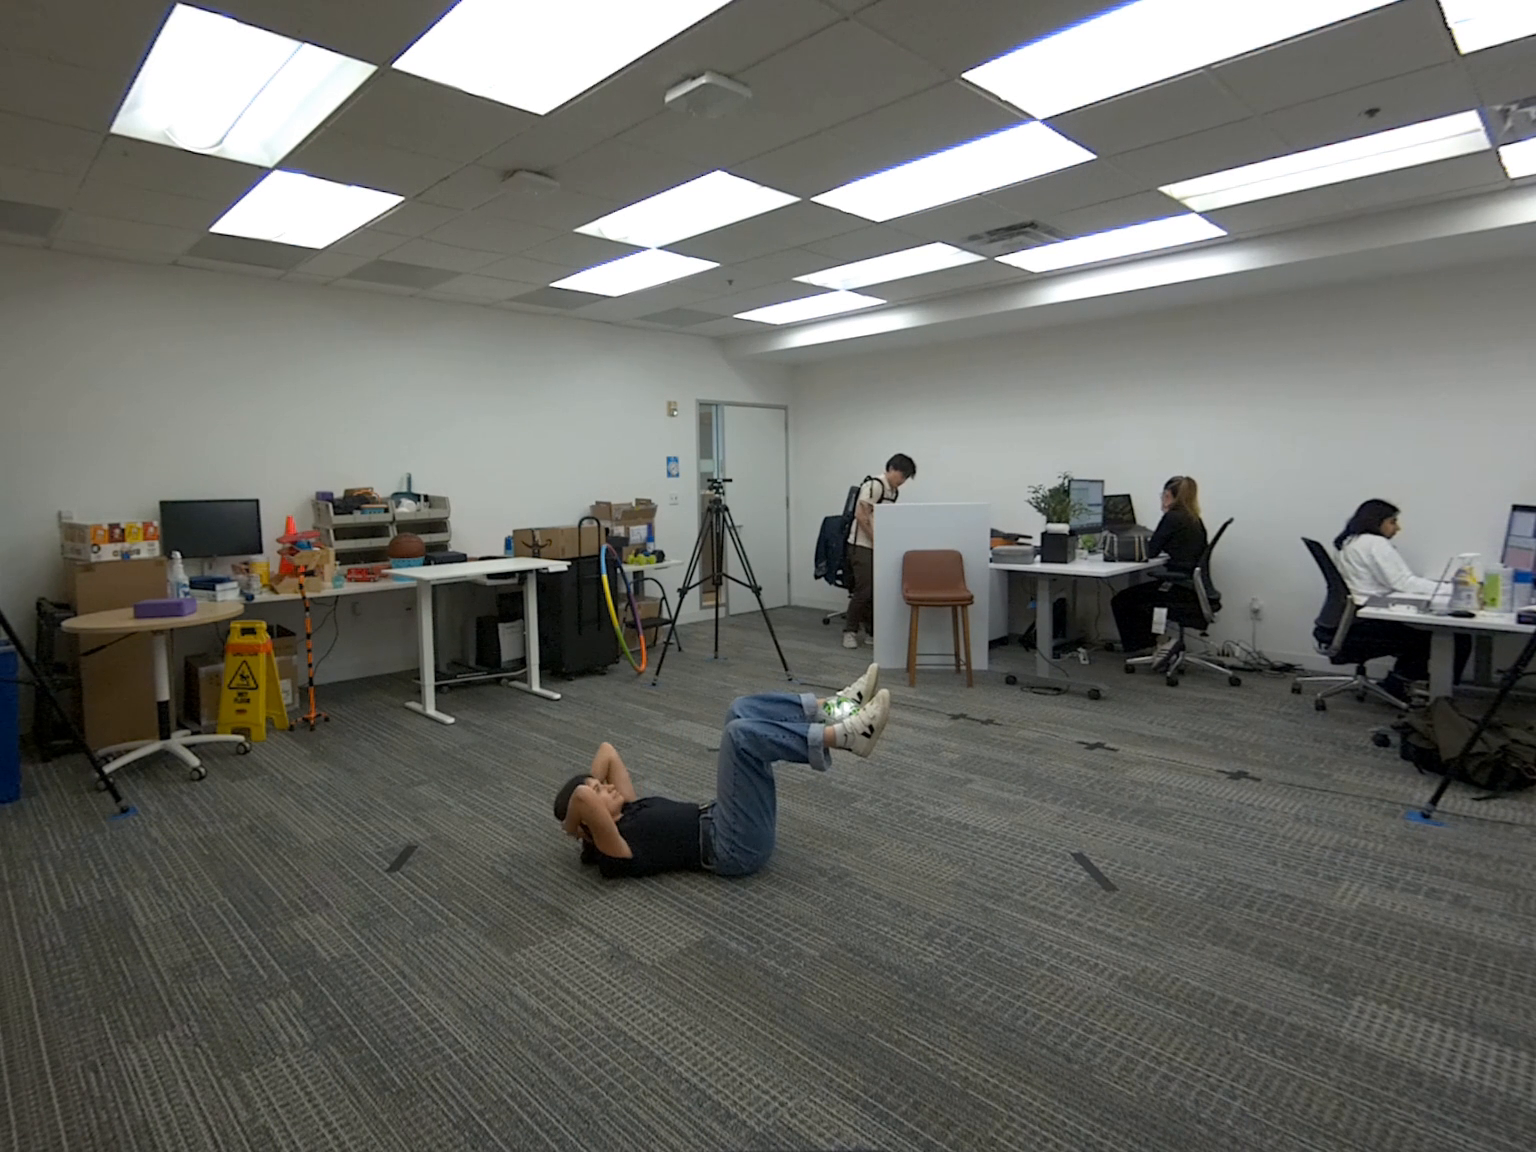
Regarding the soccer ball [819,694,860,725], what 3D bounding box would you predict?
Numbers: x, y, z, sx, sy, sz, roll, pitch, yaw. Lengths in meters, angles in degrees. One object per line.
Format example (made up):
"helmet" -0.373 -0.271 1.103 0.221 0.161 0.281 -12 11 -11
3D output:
"soccer ball" 0.273 0.528 3.075 0.187 0.187 0.188 0 1 -2
